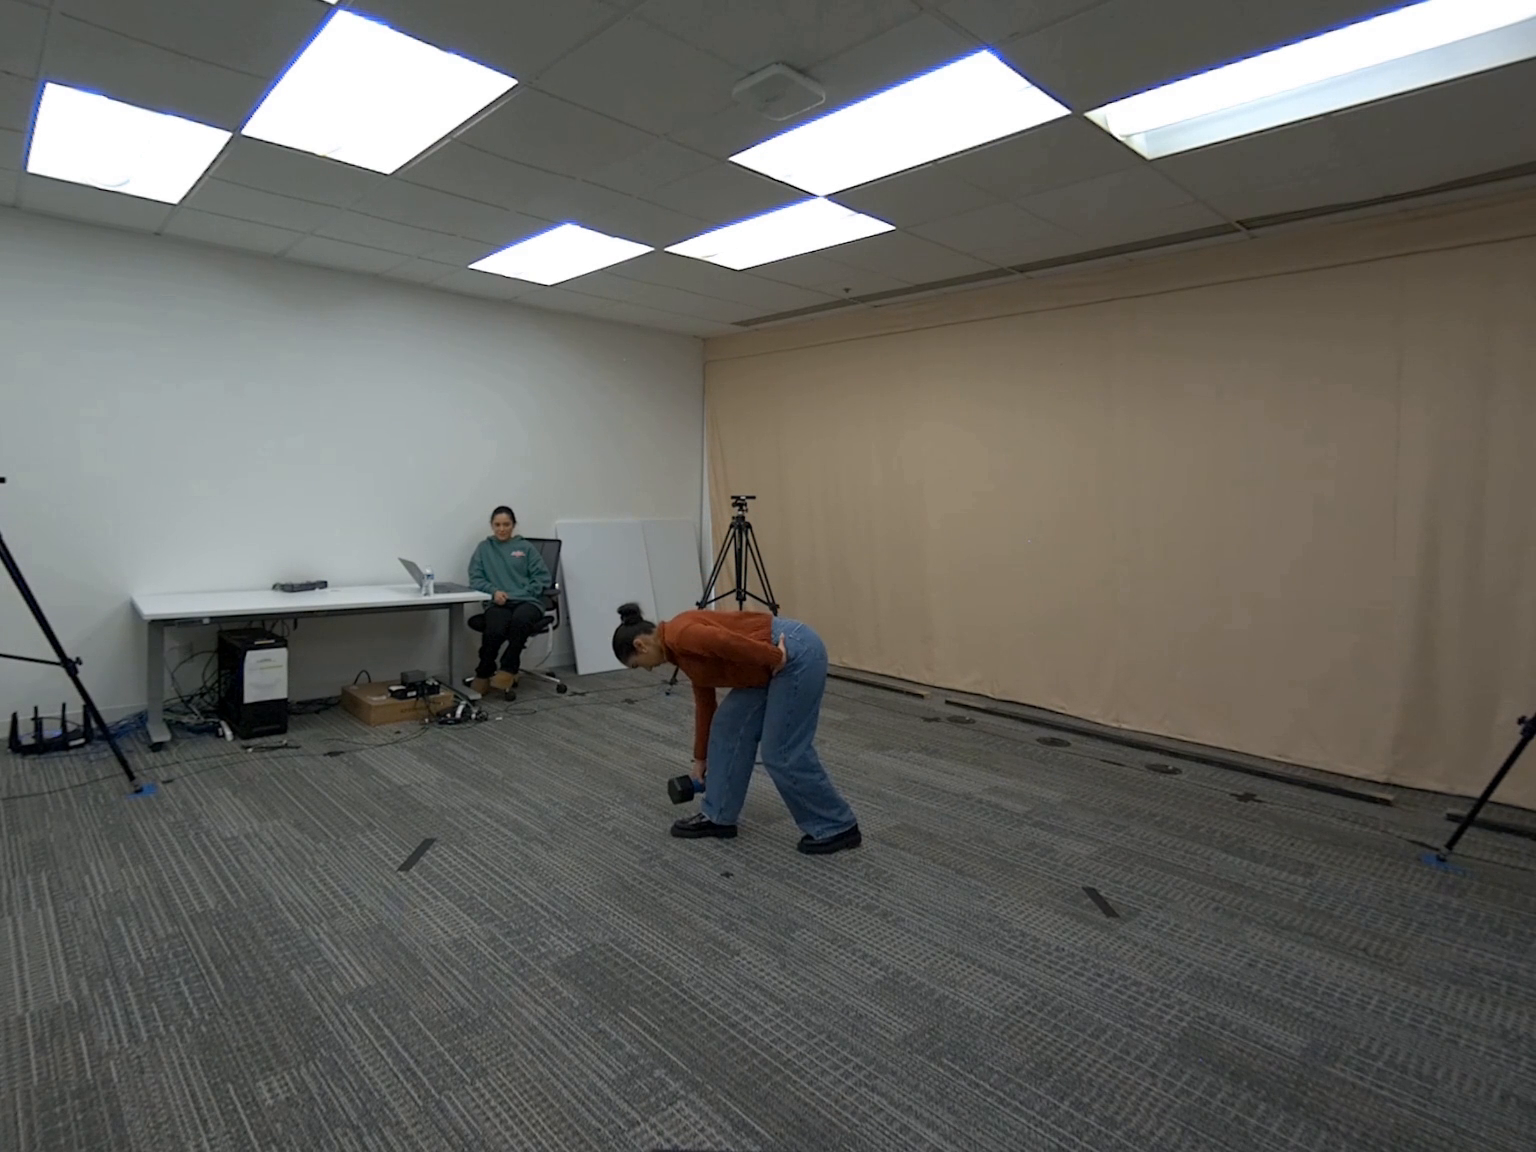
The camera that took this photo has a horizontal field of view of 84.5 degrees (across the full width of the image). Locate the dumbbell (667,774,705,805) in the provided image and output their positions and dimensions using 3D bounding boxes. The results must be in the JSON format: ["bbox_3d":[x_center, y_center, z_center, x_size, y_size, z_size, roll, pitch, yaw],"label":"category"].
[{"bbox_3d":[-0.293,0.894,3.592,0.288,0.122,0.112,-5,14,-31],"label":"dumbbell"}]
